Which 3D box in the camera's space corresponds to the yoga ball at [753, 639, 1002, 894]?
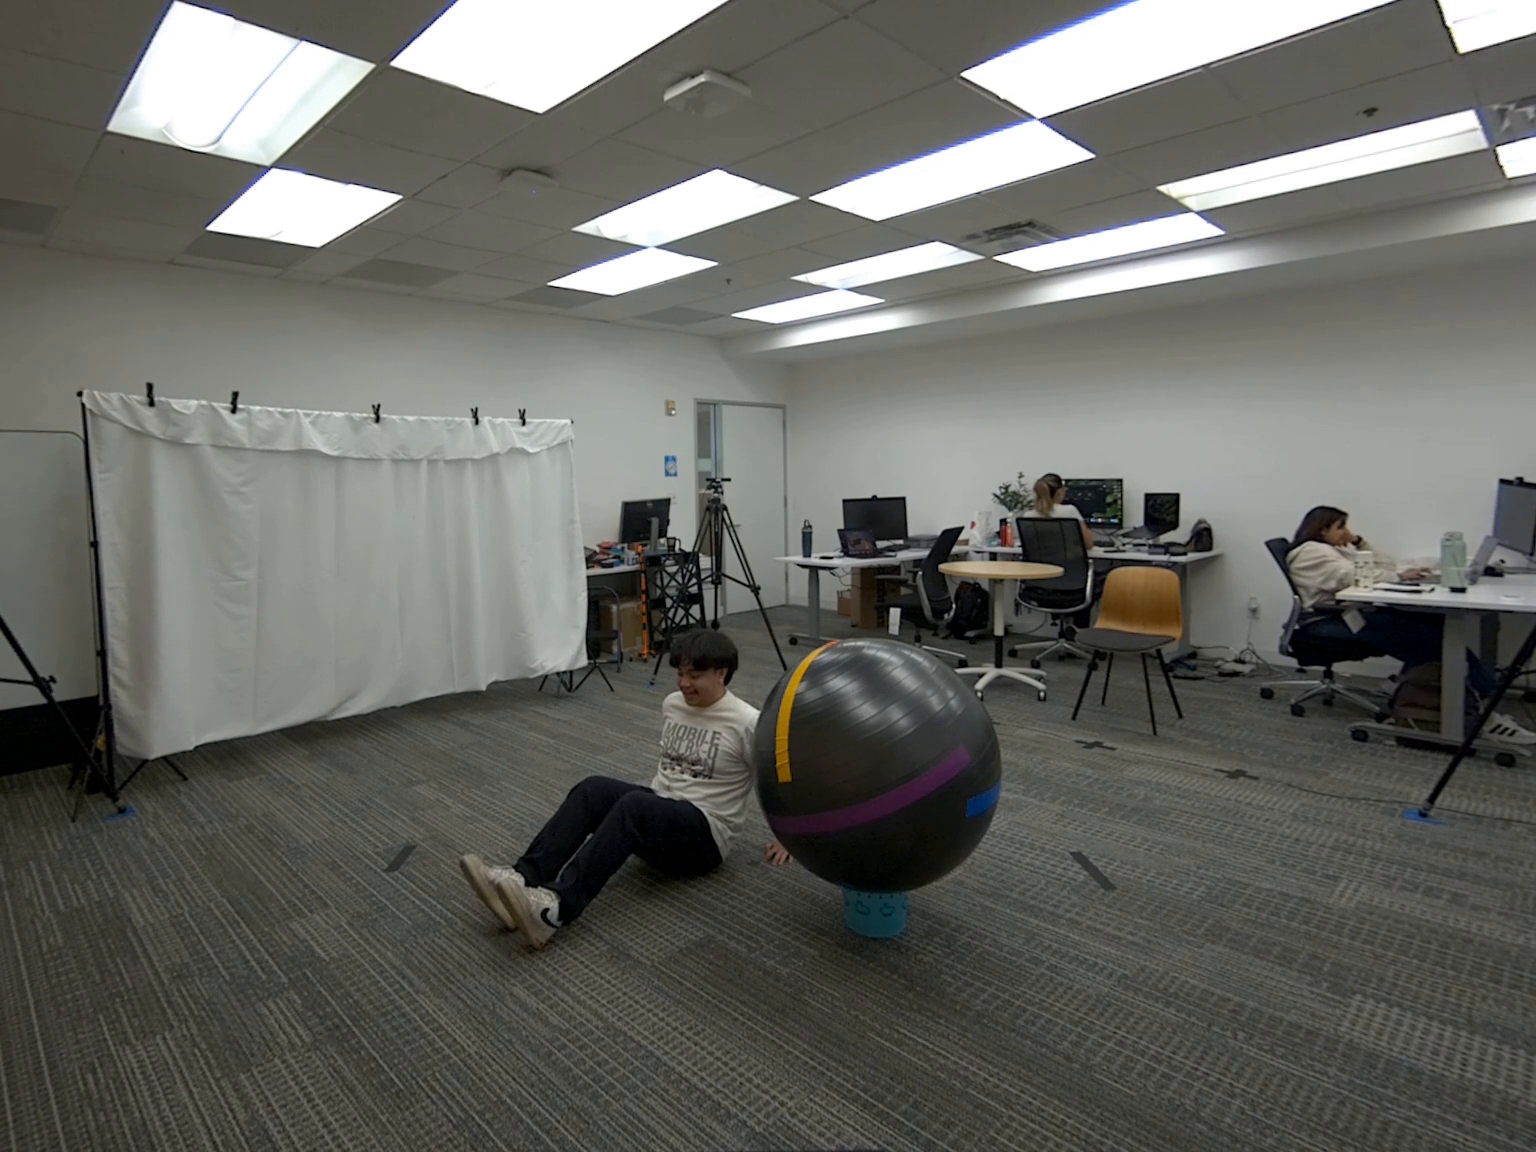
[{"bbox_3d":[0.333,0.579,2.633,0.757,0.755,0.762,-1,5,-2],"label":"yoga ball"}]
